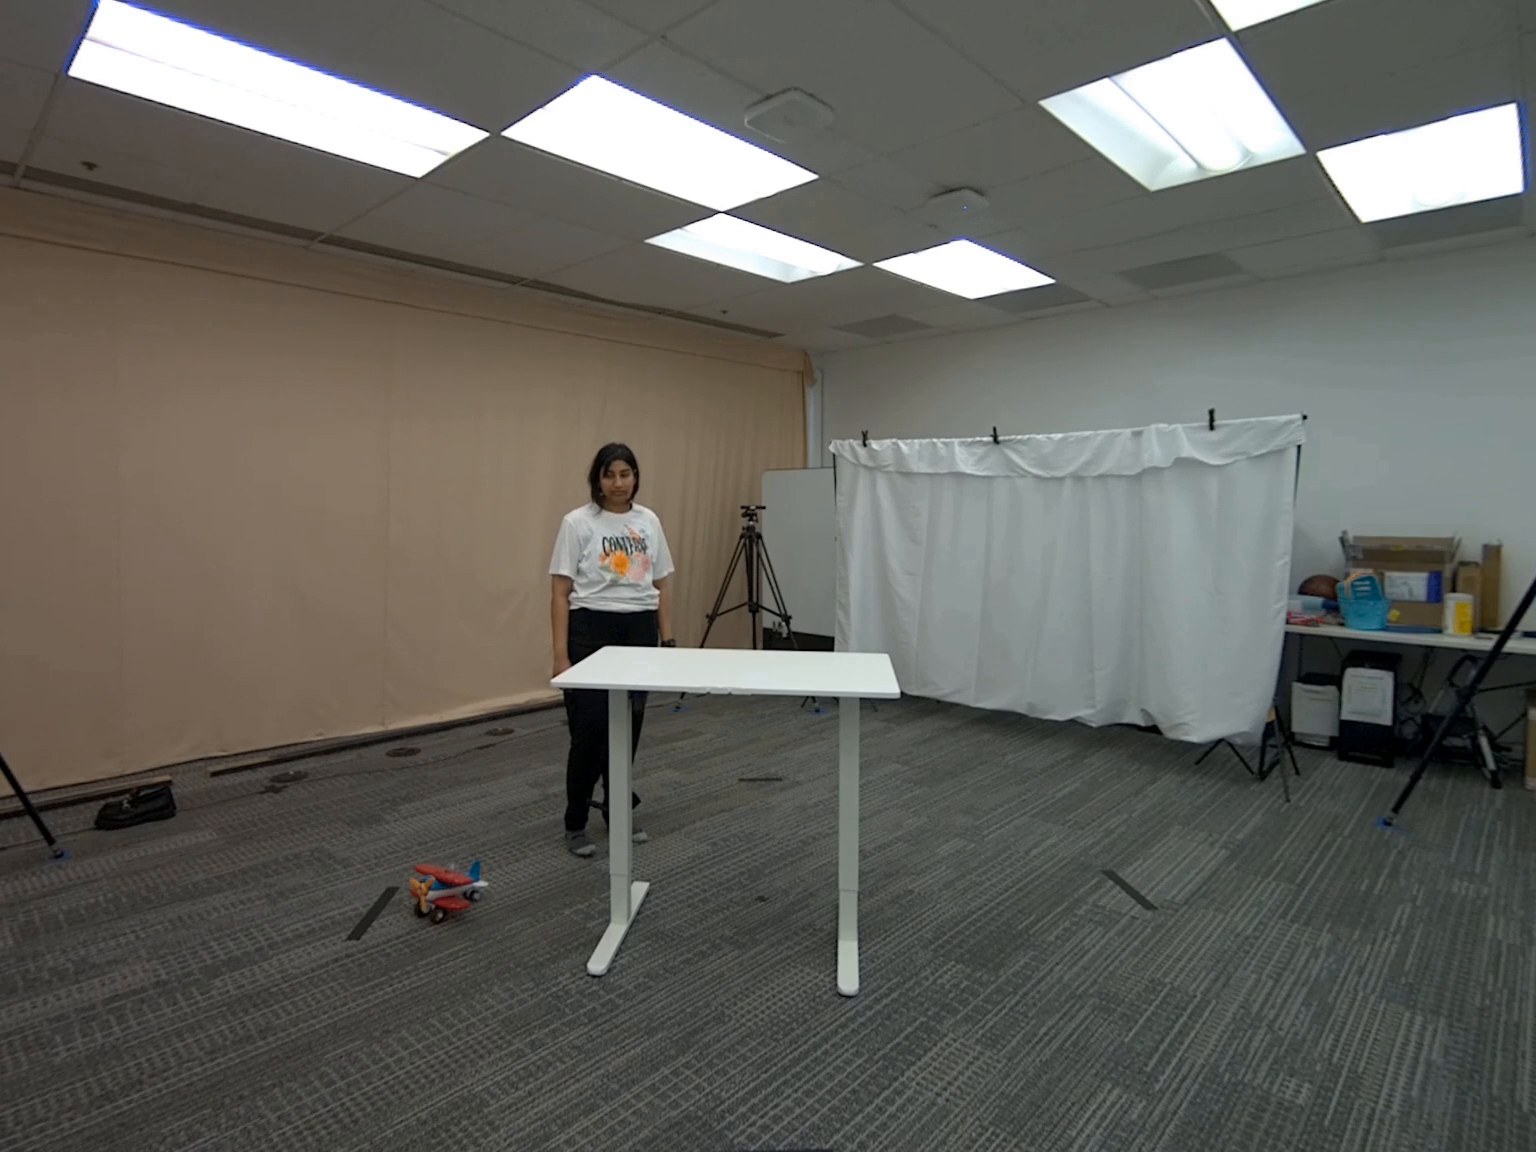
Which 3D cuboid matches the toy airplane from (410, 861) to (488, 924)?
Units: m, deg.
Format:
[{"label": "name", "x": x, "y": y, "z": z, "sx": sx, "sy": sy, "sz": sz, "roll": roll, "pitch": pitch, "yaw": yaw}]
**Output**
[{"label": "toy airplane", "x": -1.128, "y": 1.087, "z": 2.922, "sx": 0.252, "sy": 0.156, "sz": 0.258, "roll": -1, "pitch": 4, "yaw": 4}]
